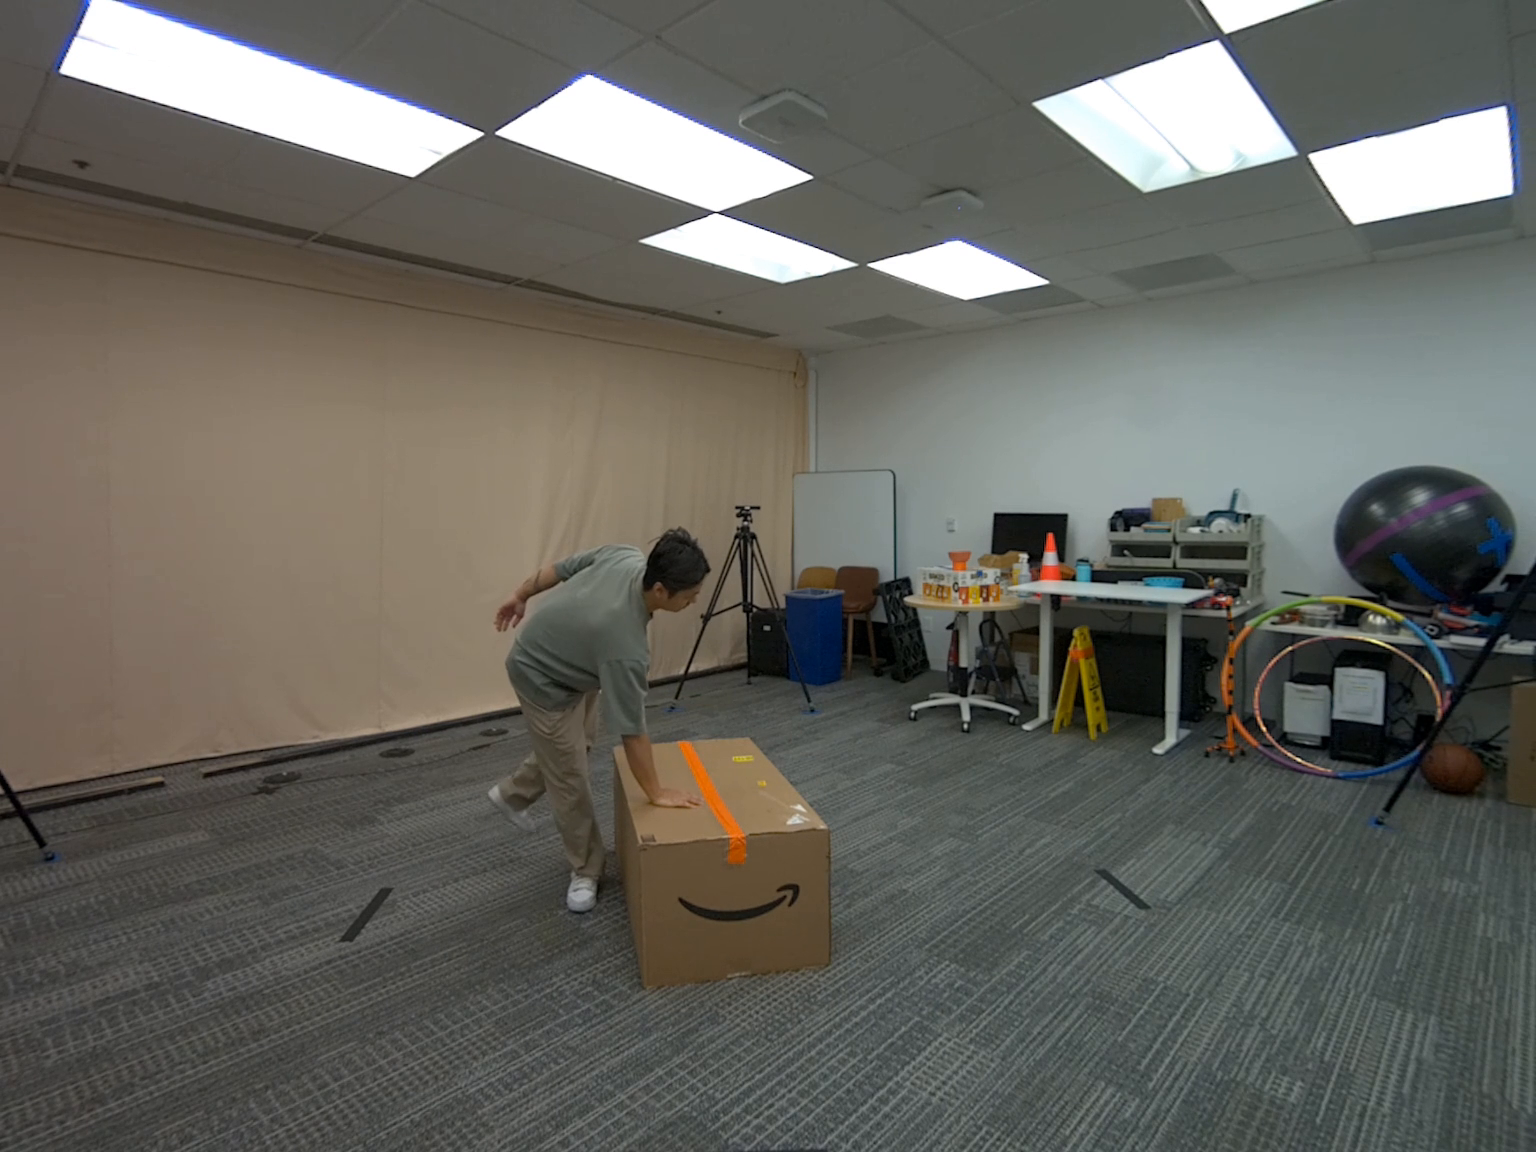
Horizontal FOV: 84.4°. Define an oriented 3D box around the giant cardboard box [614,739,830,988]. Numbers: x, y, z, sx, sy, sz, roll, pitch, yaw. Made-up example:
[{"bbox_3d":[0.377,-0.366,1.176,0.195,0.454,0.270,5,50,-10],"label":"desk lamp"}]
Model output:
[{"bbox_3d":[-0.214,0.934,2.971,0.570,0.425,1.042,-1,5,-14],"label":"giant cardboard box"}]
